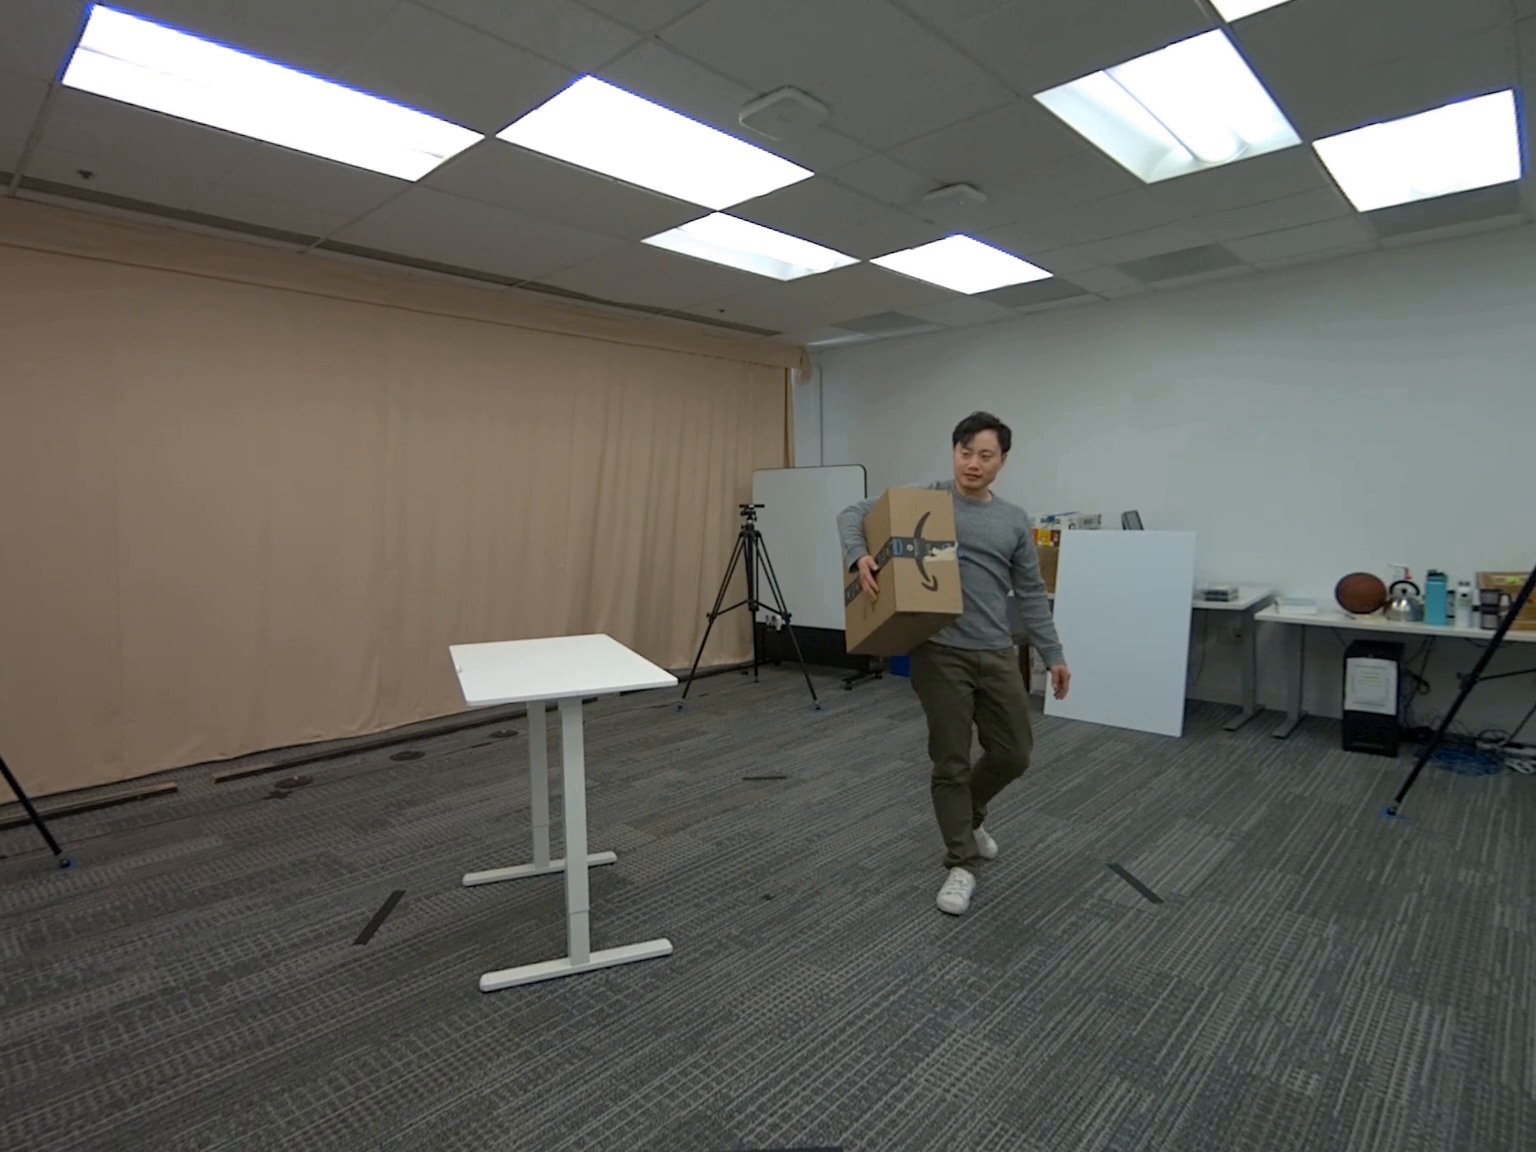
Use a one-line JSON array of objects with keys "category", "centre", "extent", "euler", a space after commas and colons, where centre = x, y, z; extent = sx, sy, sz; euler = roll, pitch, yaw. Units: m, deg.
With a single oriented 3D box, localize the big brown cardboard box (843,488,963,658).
[{"category": "big brown cardboard box", "centre": [0.436, 0.006, 2.890], "extent": [0.231, 0.422, 0.586], "euler": [2, -19, -8]}]
